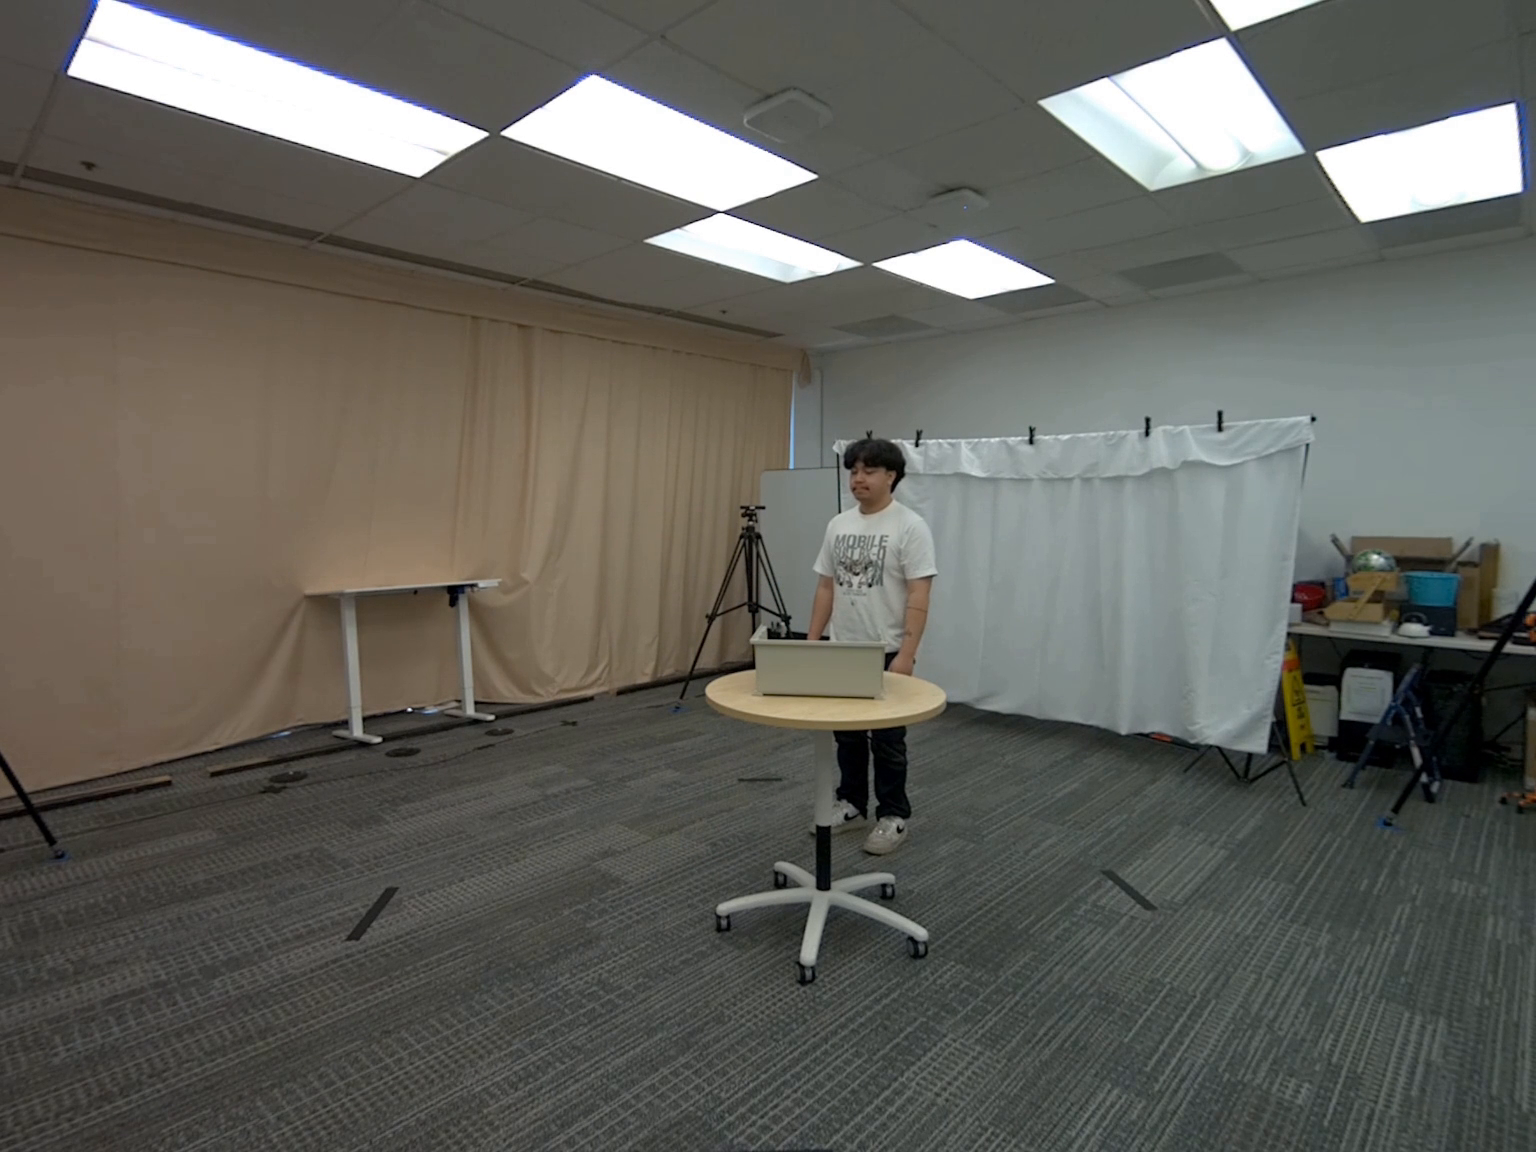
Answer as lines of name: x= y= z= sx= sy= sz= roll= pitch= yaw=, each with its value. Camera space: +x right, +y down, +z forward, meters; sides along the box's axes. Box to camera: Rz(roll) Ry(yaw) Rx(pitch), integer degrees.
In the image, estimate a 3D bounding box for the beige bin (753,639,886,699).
beige bin: x=0.172 y=0.278 z=2.787 sx=0.425 sy=0.188 sz=0.376 roll=0 pitch=5 yaw=6
